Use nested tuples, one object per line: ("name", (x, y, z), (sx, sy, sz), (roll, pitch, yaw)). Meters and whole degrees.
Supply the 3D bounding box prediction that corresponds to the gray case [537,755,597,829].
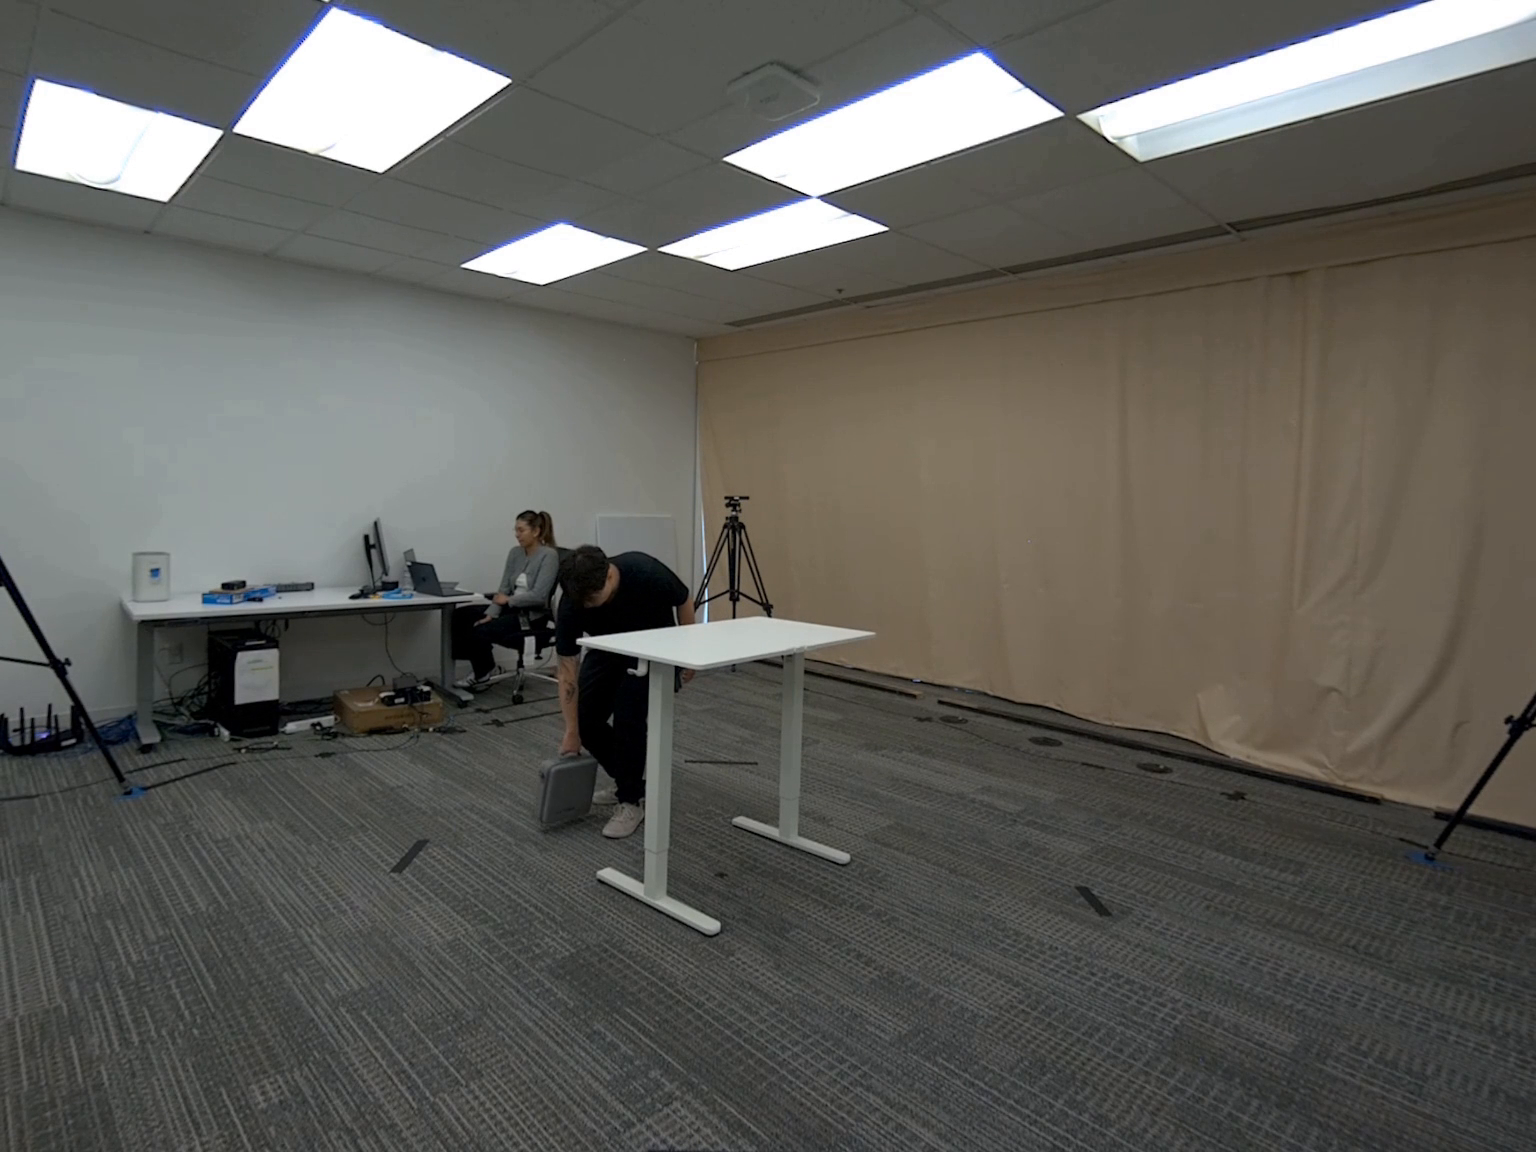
("gray case", (-0.850, 0.871, 3.520), (0.107, 0.260, 0.250), (13, 6, 38))
